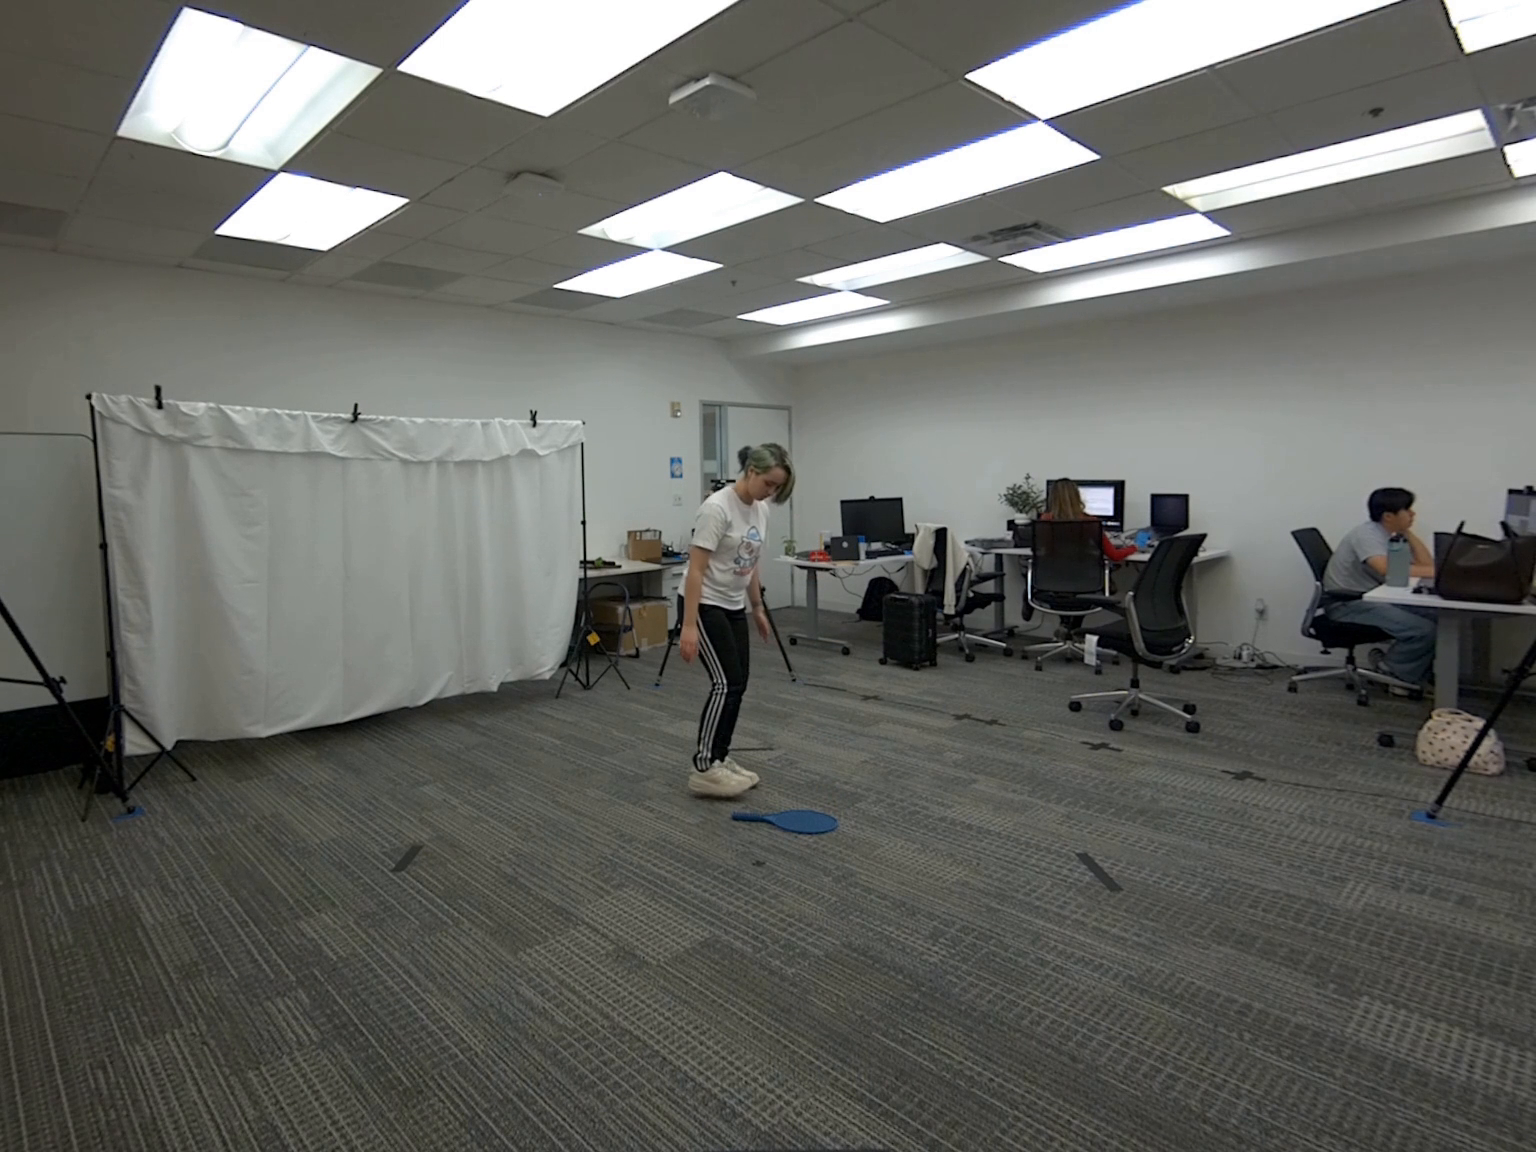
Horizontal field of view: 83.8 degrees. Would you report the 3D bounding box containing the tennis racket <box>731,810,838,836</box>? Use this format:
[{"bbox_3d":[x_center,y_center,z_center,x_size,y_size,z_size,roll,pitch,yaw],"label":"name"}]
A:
[{"bbox_3d":[0.067,0.991,3.478,0.436,0.031,0.213,1,6,8],"label":"tennis racket"}]
